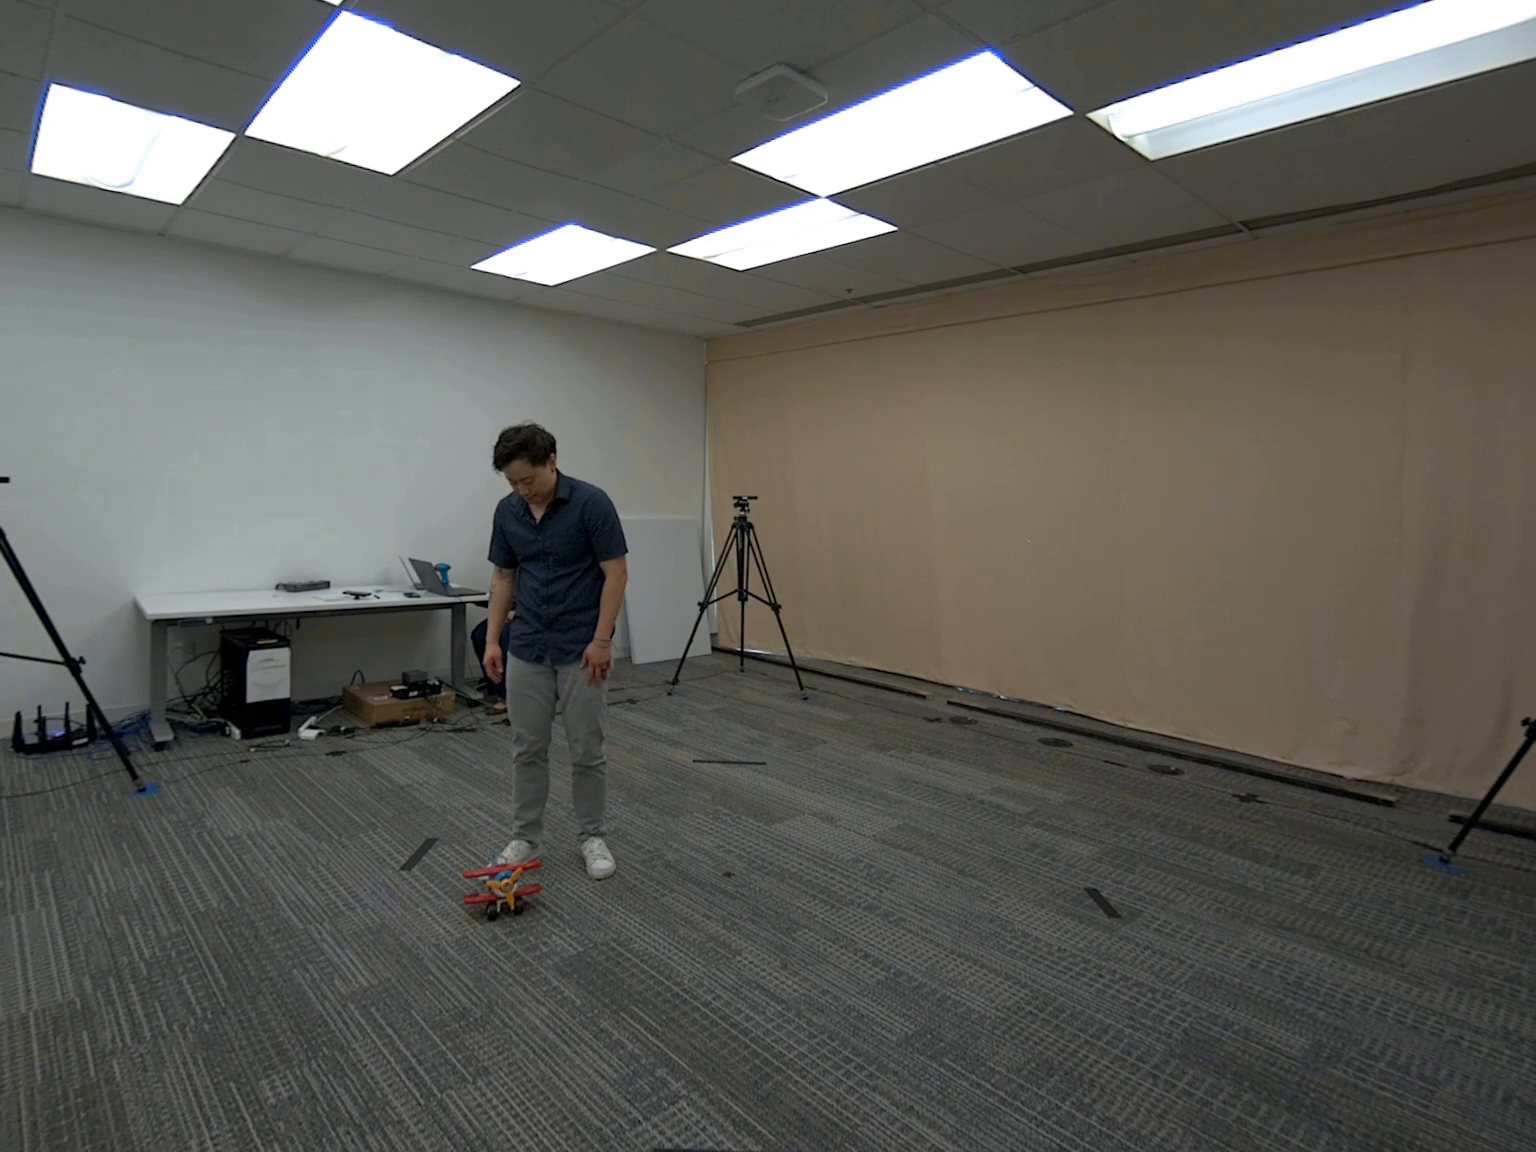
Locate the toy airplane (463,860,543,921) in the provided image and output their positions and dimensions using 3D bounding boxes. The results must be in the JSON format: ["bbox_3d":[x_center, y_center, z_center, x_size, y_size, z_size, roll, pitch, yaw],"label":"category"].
[{"bbox_3d":[-0.928,1.043,2.820,0.265,0.155,0.246,6,9,34],"label":"toy airplane"}]
